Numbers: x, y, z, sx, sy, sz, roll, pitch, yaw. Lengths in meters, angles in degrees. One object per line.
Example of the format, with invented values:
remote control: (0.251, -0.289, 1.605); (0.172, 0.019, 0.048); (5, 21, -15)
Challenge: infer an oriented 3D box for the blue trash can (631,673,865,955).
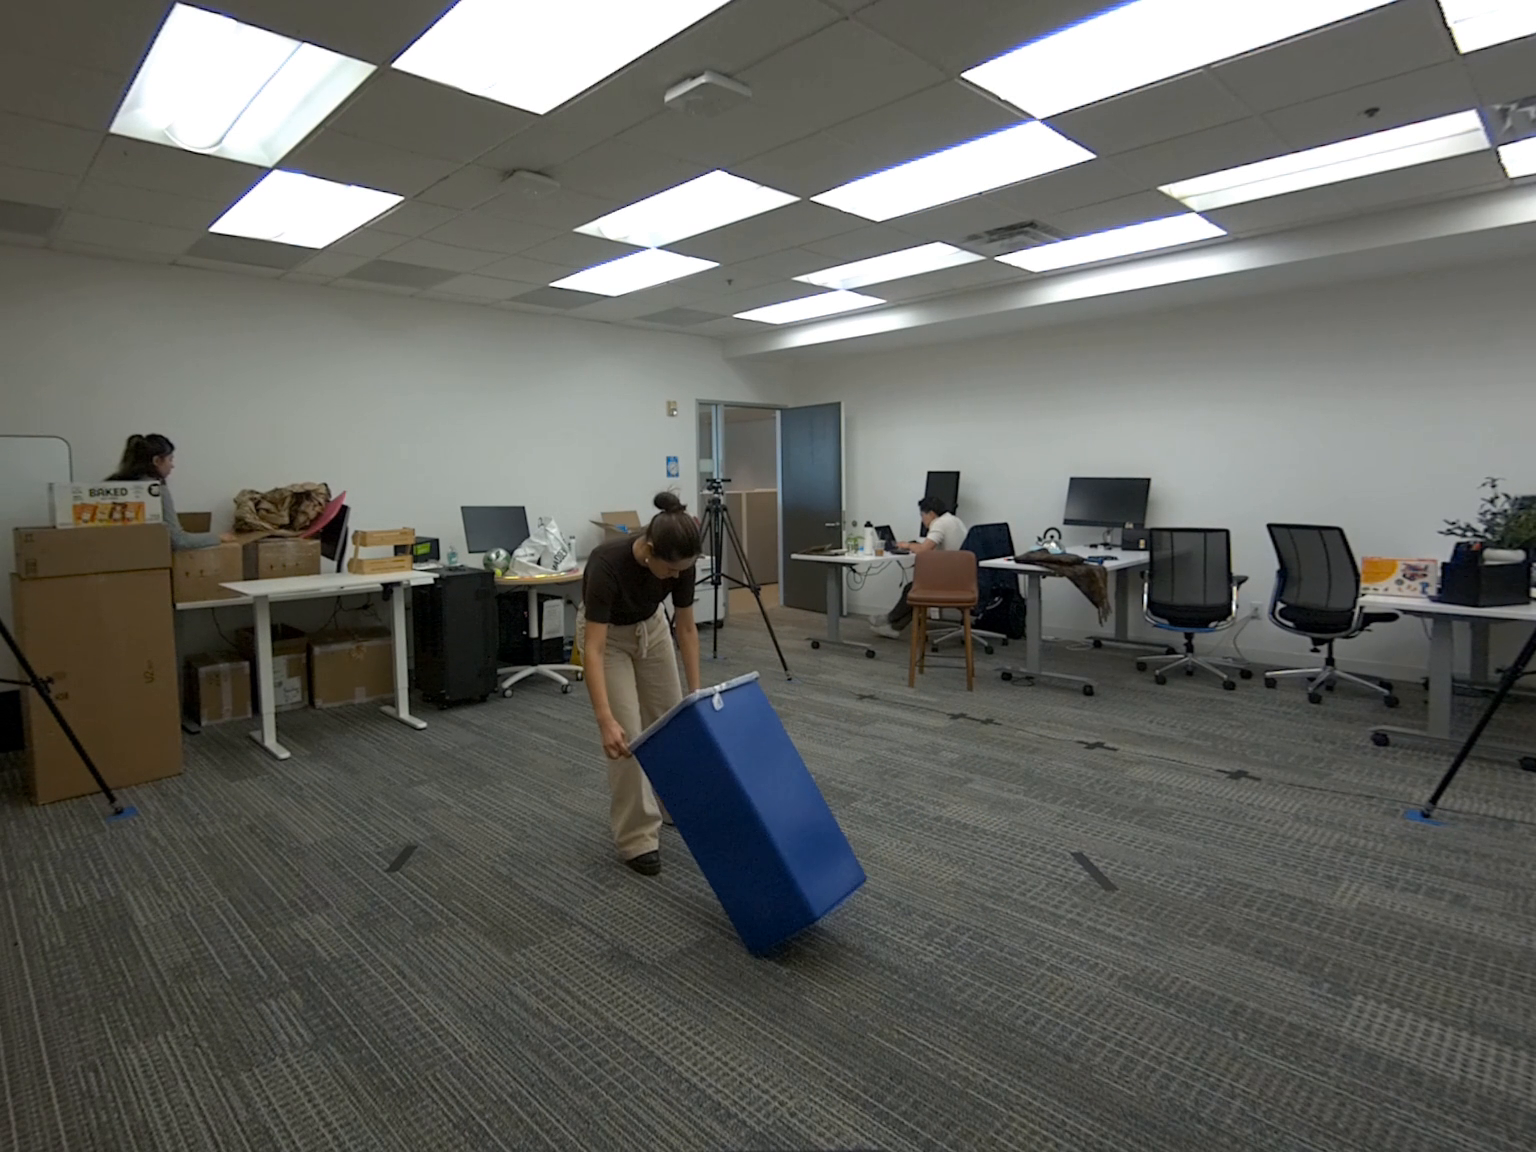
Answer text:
blue trash can: (-0.065, 0.724, 2.660); (0.375, 0.730, 0.368); (-43, -21, 32)
